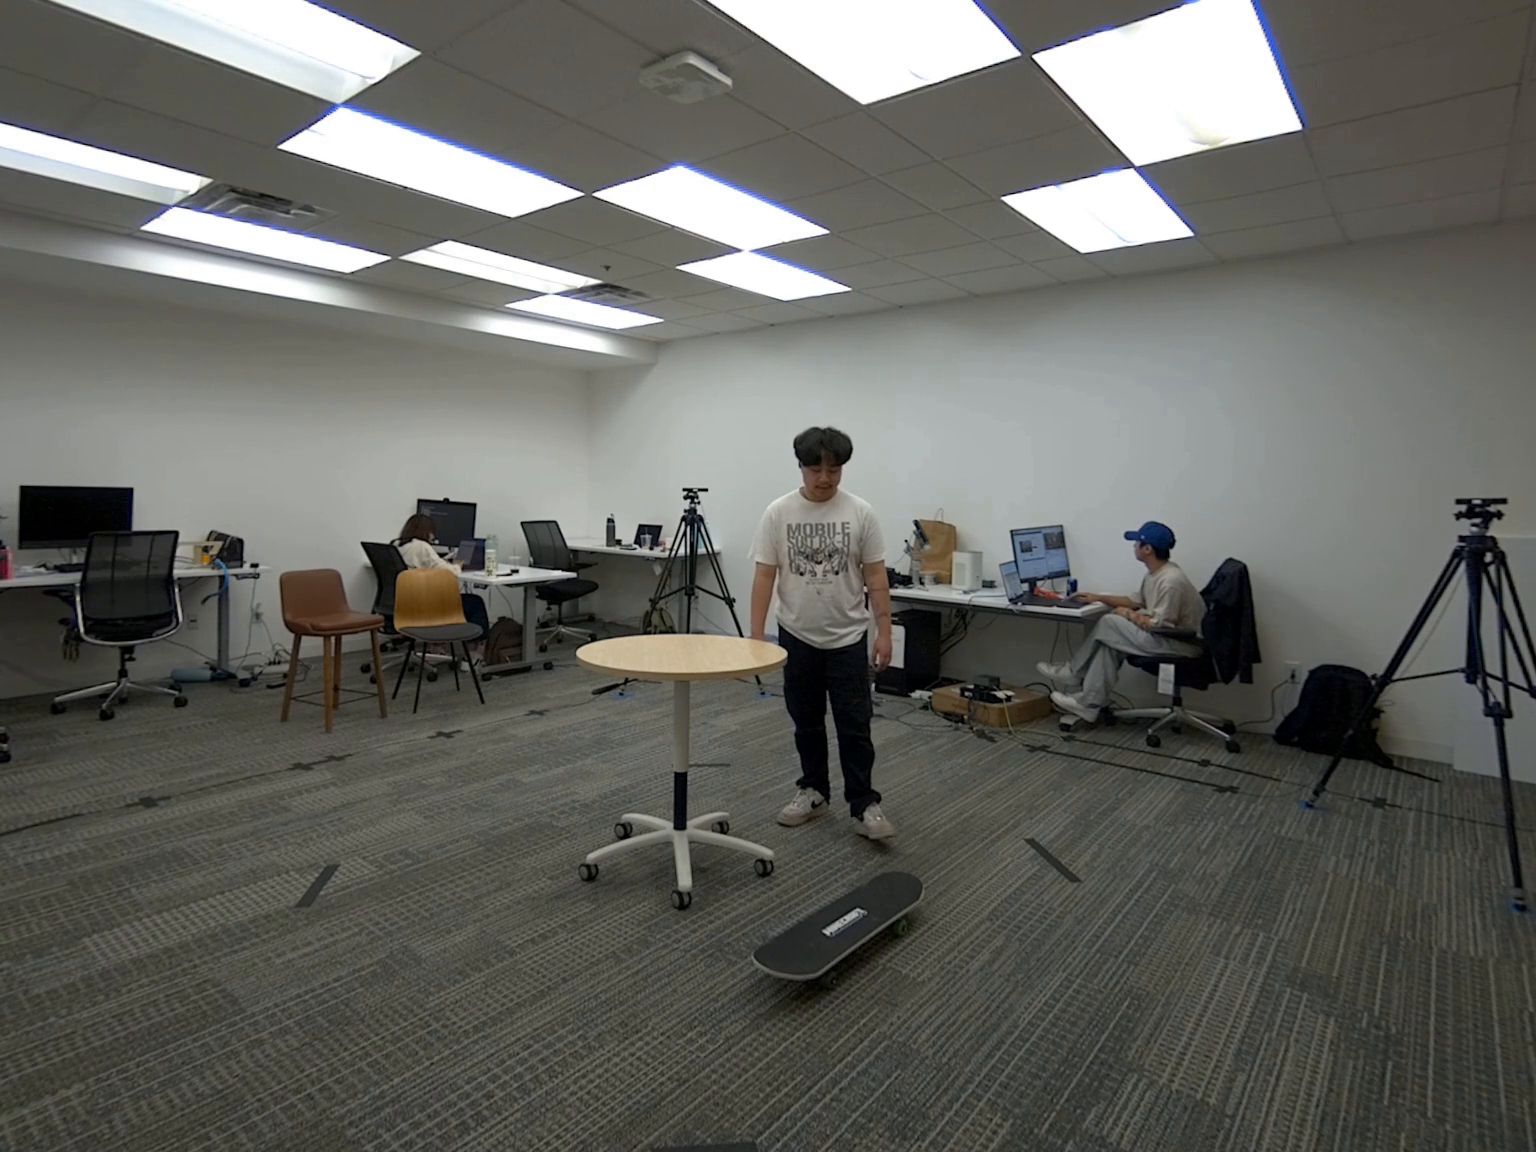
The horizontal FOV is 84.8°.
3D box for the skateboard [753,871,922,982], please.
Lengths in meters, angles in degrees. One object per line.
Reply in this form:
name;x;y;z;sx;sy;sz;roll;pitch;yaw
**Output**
skateboard;0.240;1.081;2.578;0.200;0.110;0.762;6;7;39
